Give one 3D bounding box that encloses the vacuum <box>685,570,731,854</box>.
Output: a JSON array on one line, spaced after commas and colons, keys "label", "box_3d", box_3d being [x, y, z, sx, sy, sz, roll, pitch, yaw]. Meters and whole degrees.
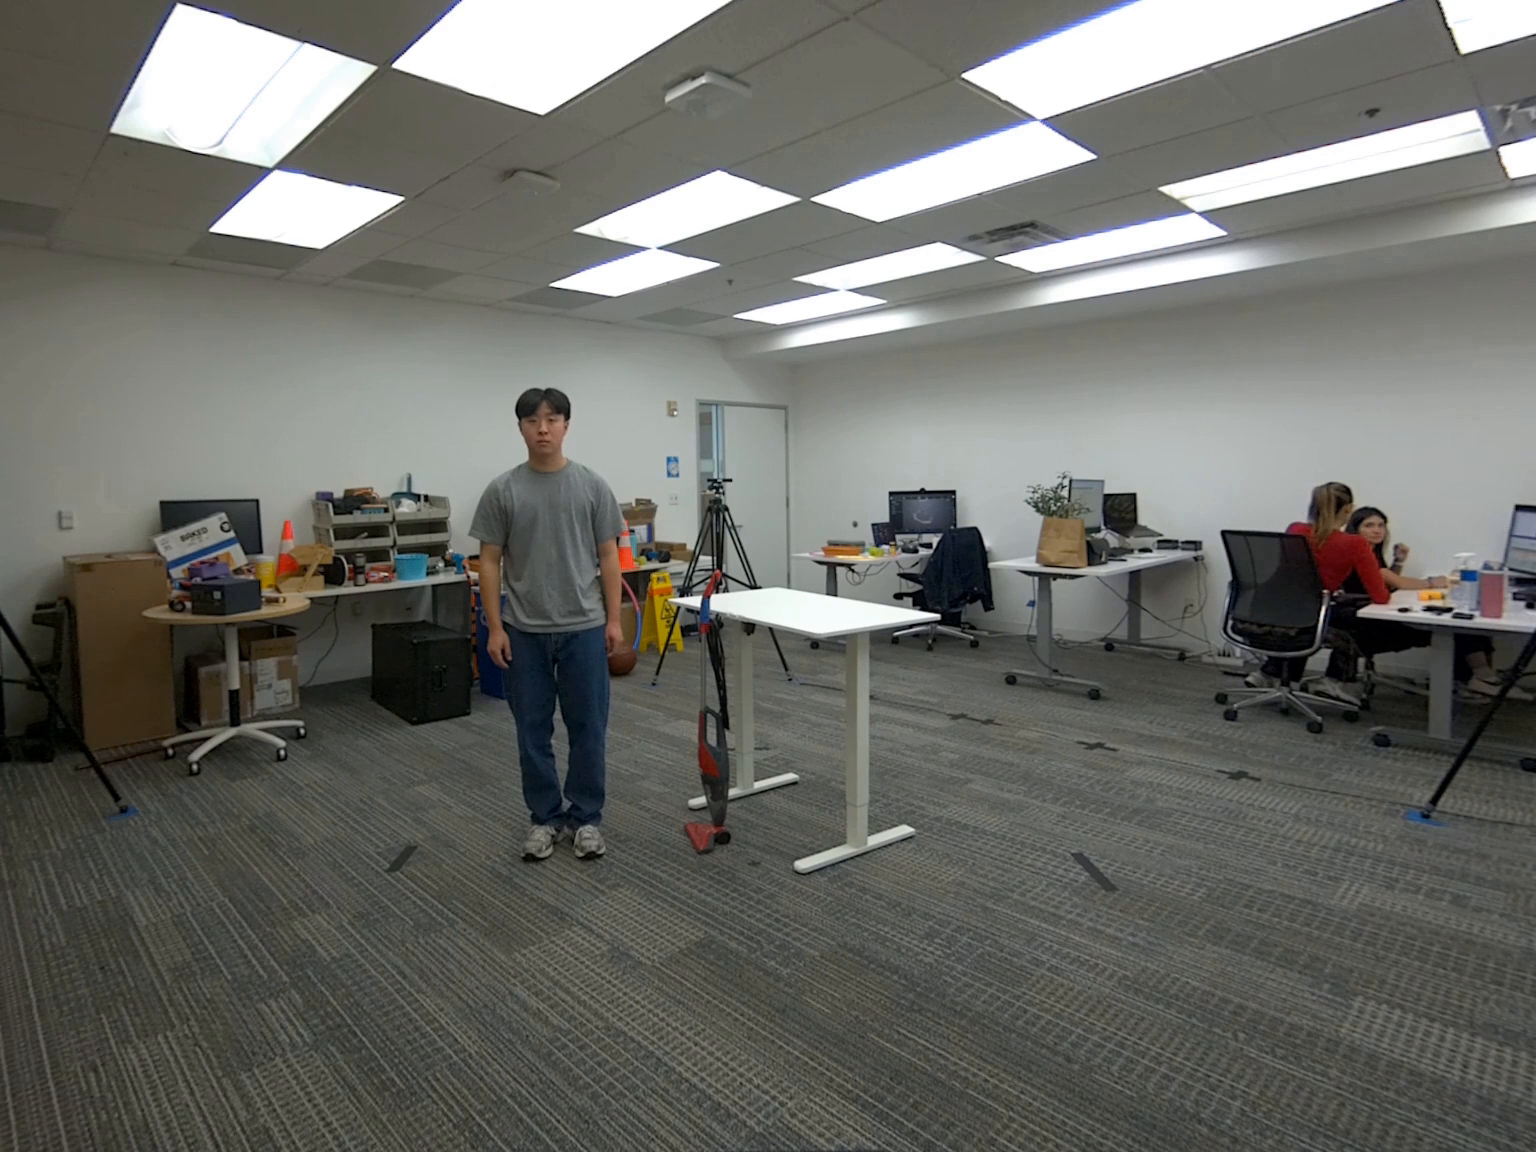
[{"label": "vacuum", "box_3d": [-0.207, 0.499, 3.294, 0.142, 1.045, 0.256, 2, 5, -12]}]
